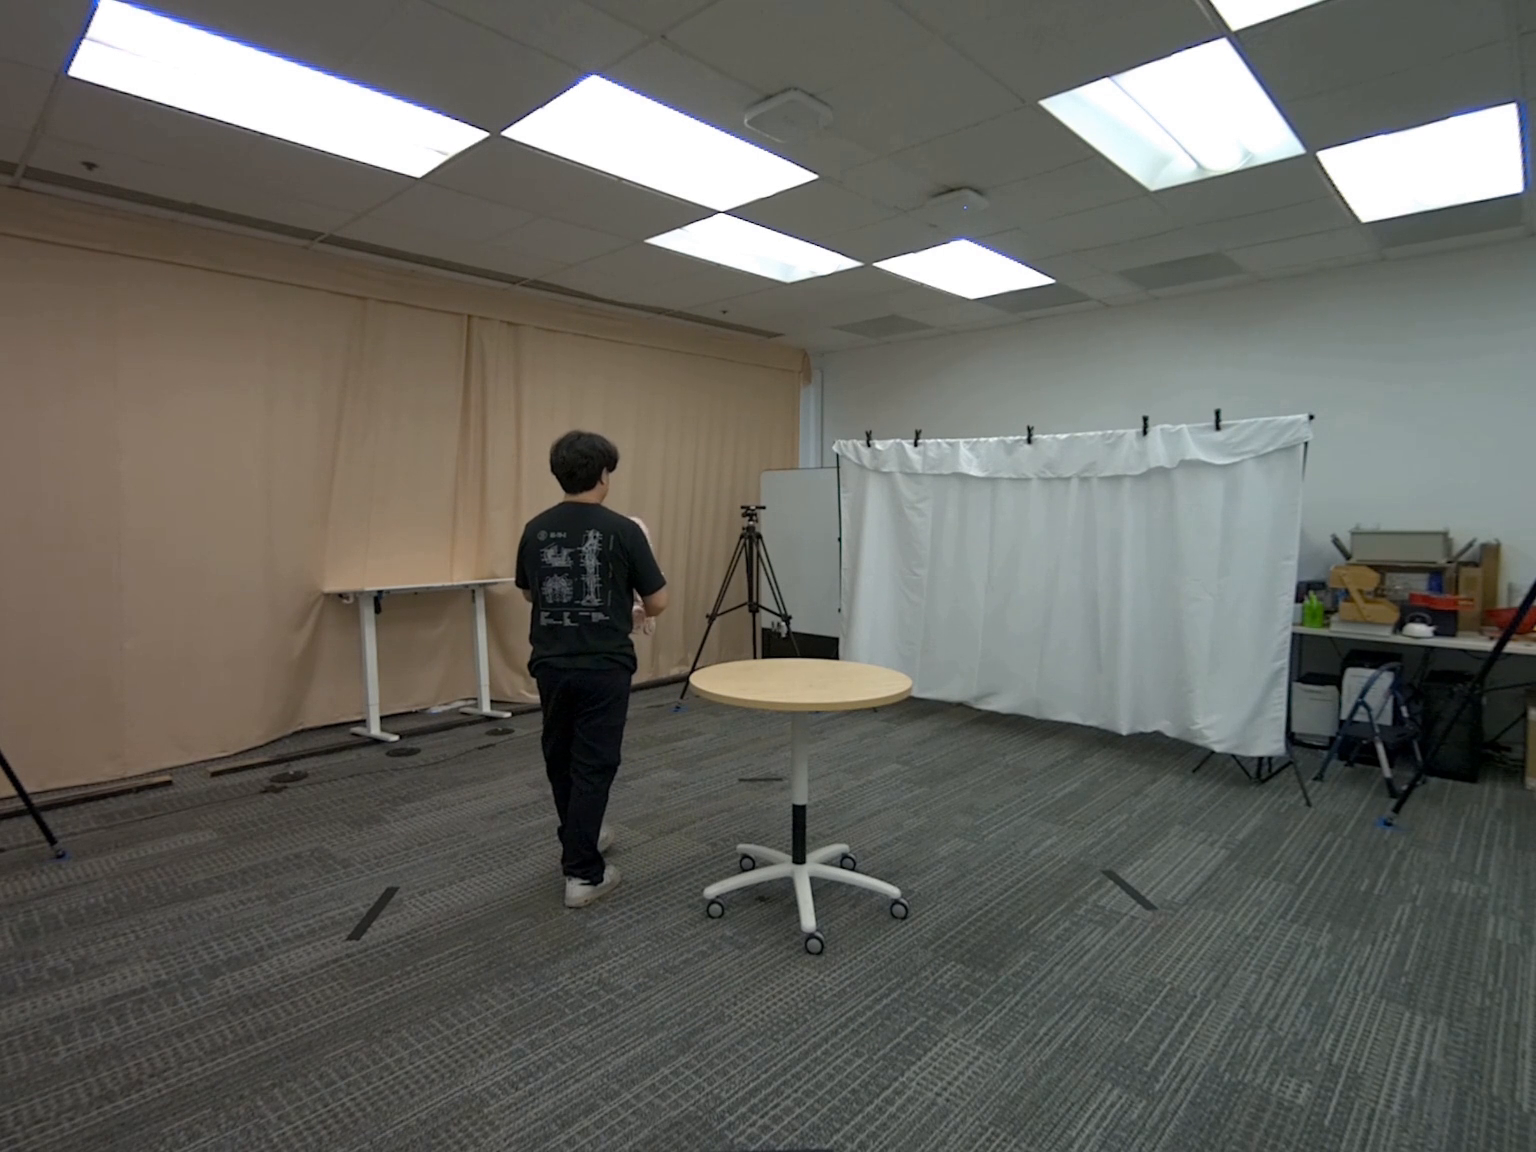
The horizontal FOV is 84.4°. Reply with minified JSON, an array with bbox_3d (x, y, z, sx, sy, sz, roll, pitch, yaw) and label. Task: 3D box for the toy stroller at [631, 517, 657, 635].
[{"bbox_3d":[-0.578,0.000,3.405,0.290,0.532,0.332,3,8,36],"label":"toy stroller"}]
